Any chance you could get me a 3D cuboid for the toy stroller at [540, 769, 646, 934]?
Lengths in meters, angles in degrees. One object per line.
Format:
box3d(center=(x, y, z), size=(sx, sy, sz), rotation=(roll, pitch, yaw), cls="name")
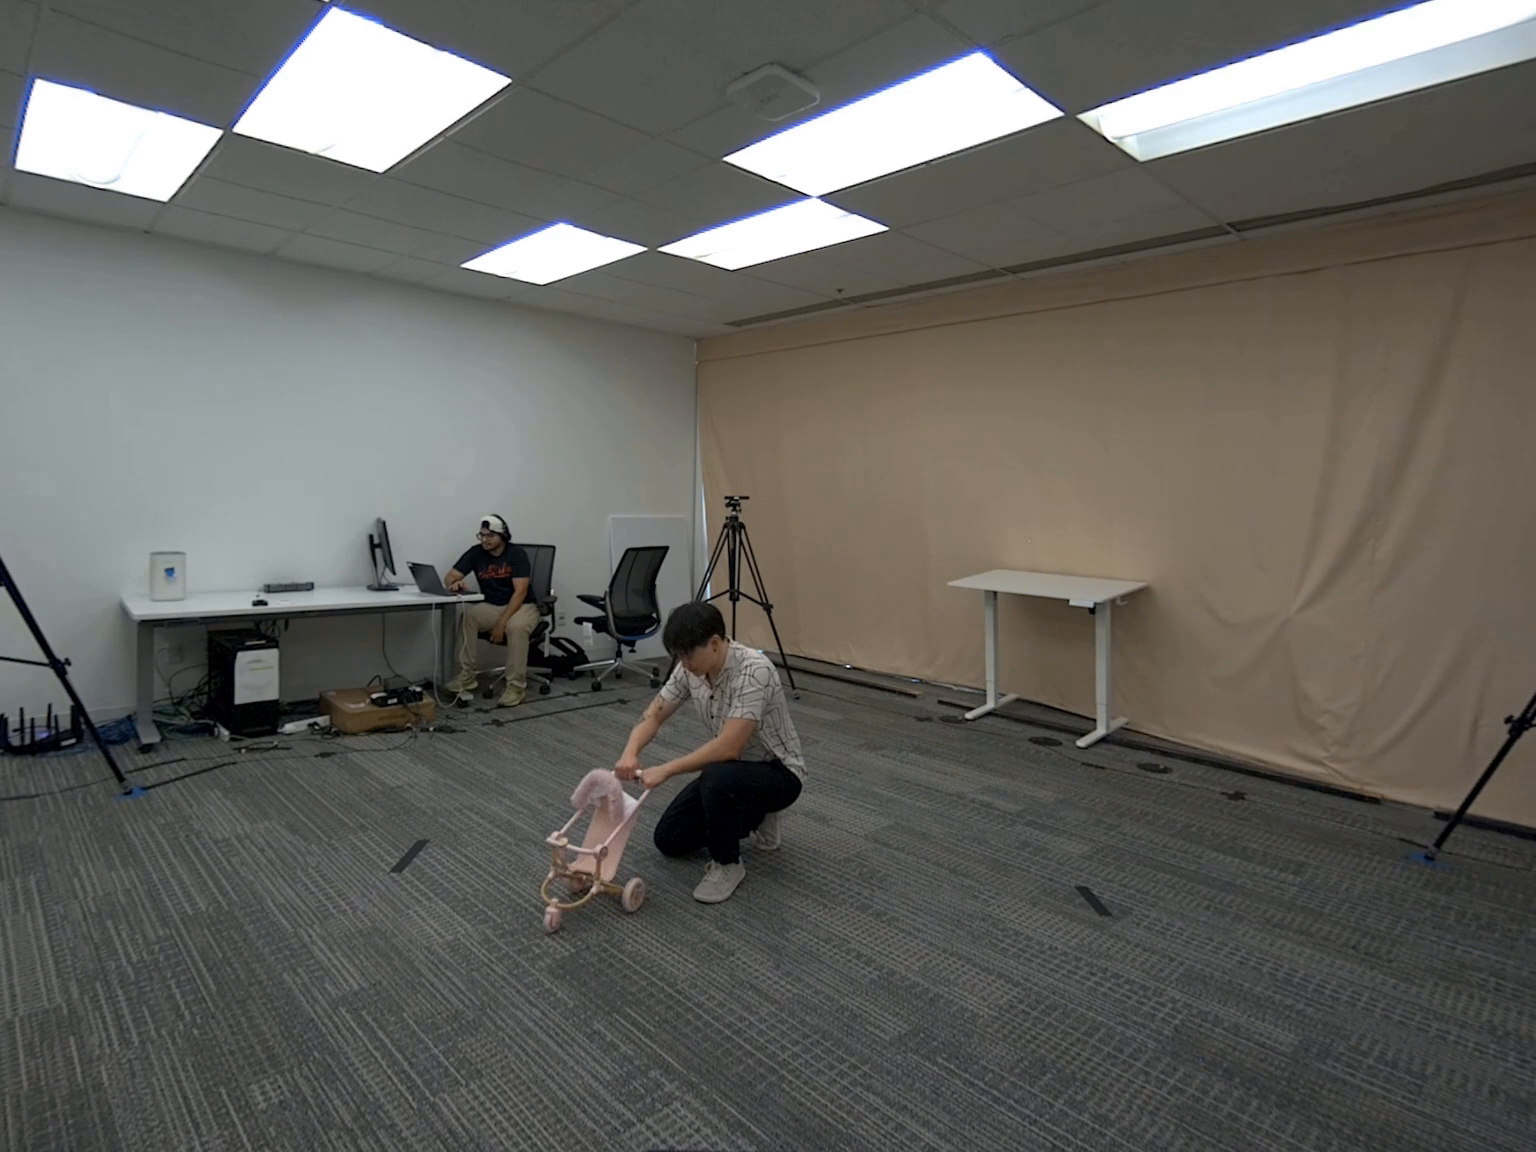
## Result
box3d(center=(-0.585, 0.897, 2.824), size=(0.288, 0.539, 0.331), rotation=(3, -15, 34), cls="toy stroller")
